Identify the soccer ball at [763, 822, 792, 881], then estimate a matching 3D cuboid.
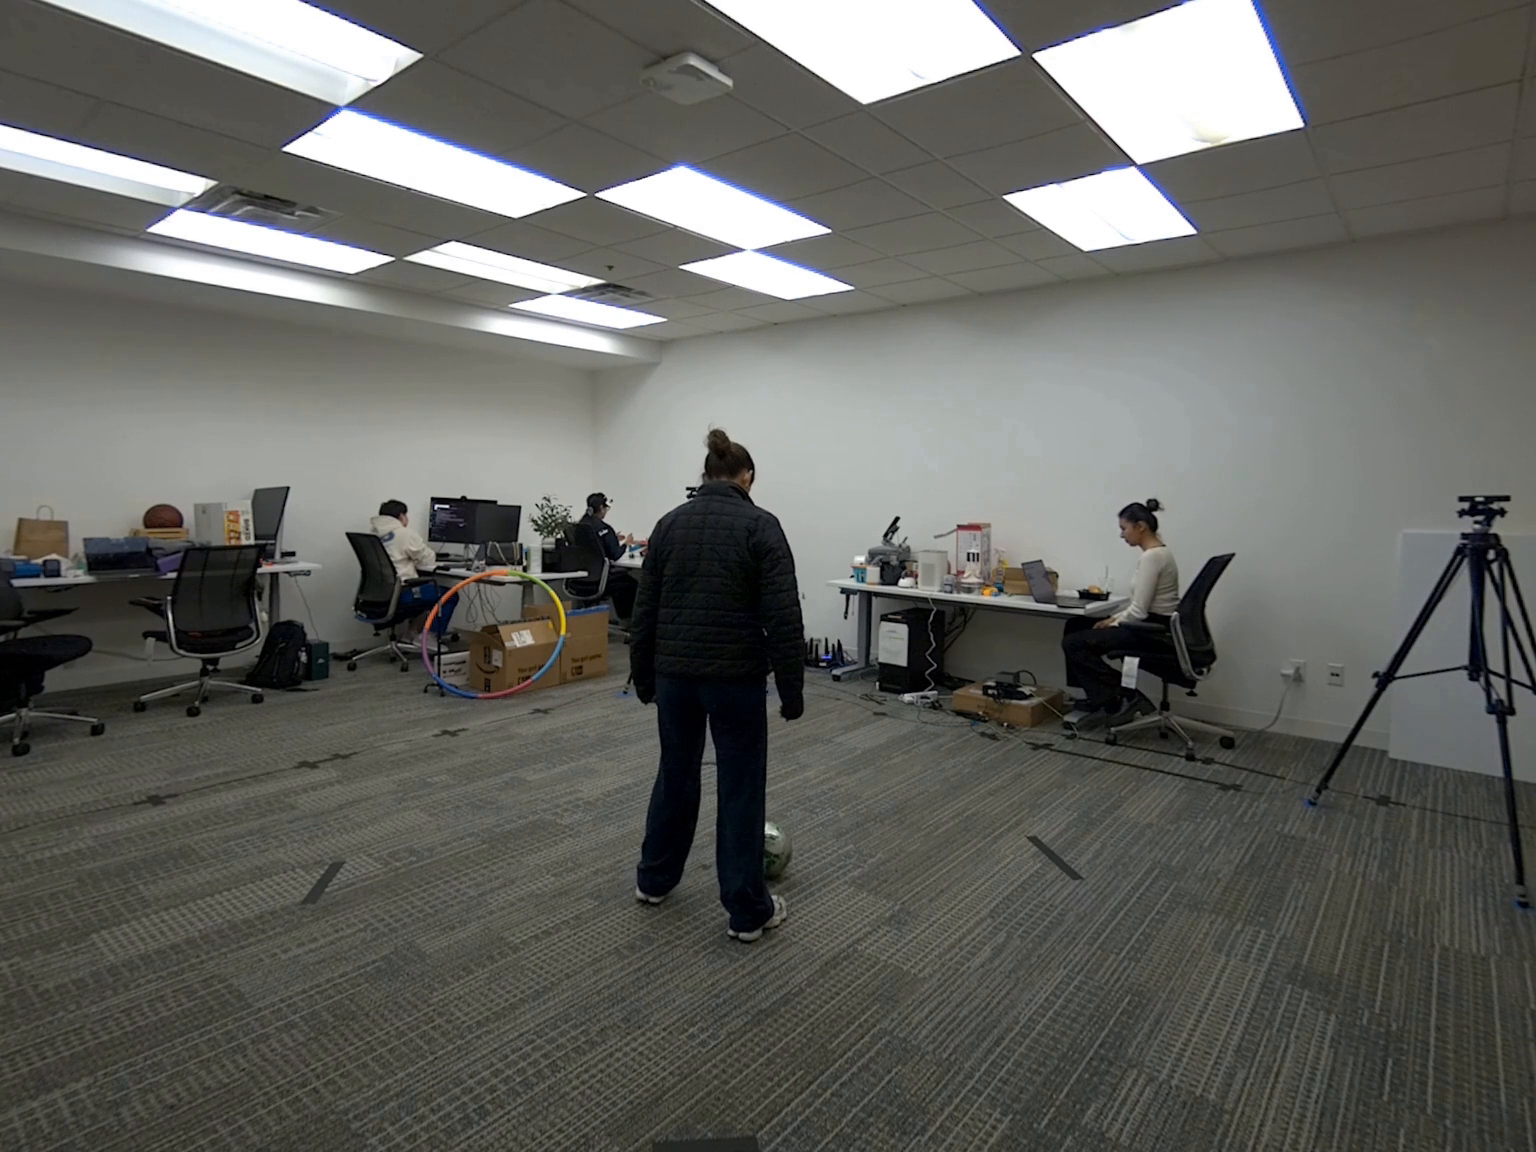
[{"bbox_3d":[-0.014,0.978,3.065,0.187,0.187,0.188,1,4,-2],"label":"soccer ball"}]
